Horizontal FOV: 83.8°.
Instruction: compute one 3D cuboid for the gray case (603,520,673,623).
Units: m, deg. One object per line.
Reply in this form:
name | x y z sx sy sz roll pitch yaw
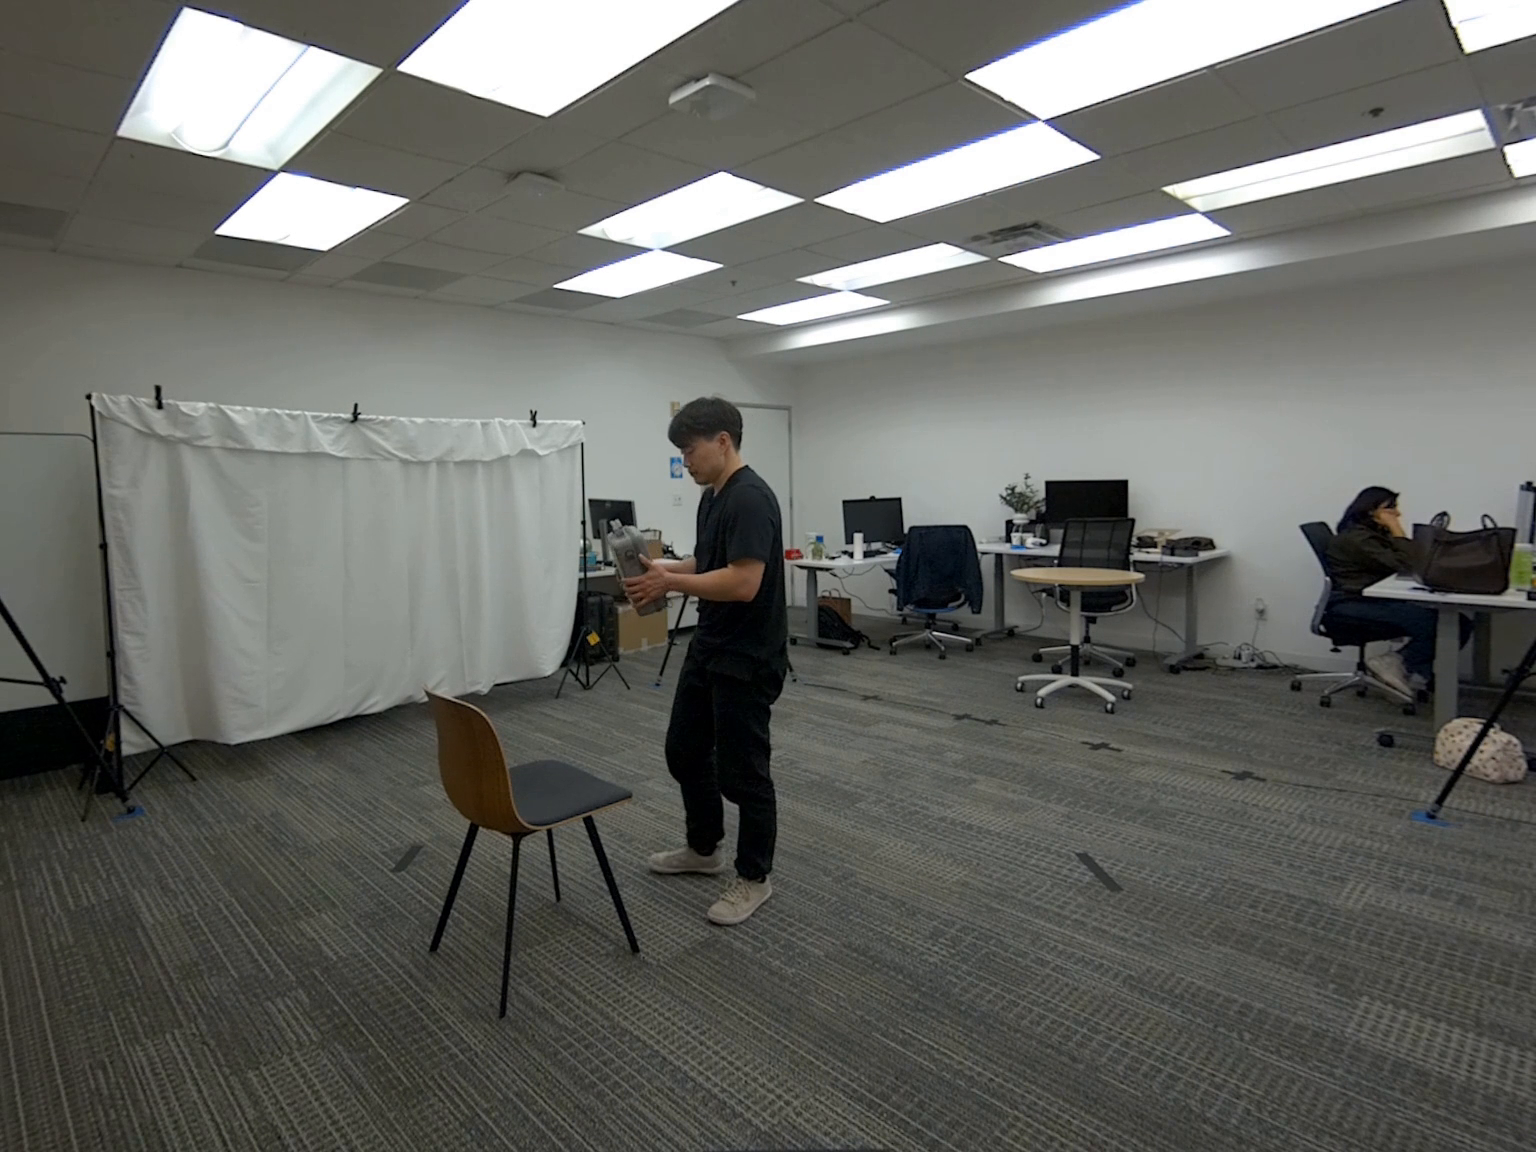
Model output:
gray case | -0.414 -0.023 2.695 0.103 0.257 0.262 -21 13 -12
